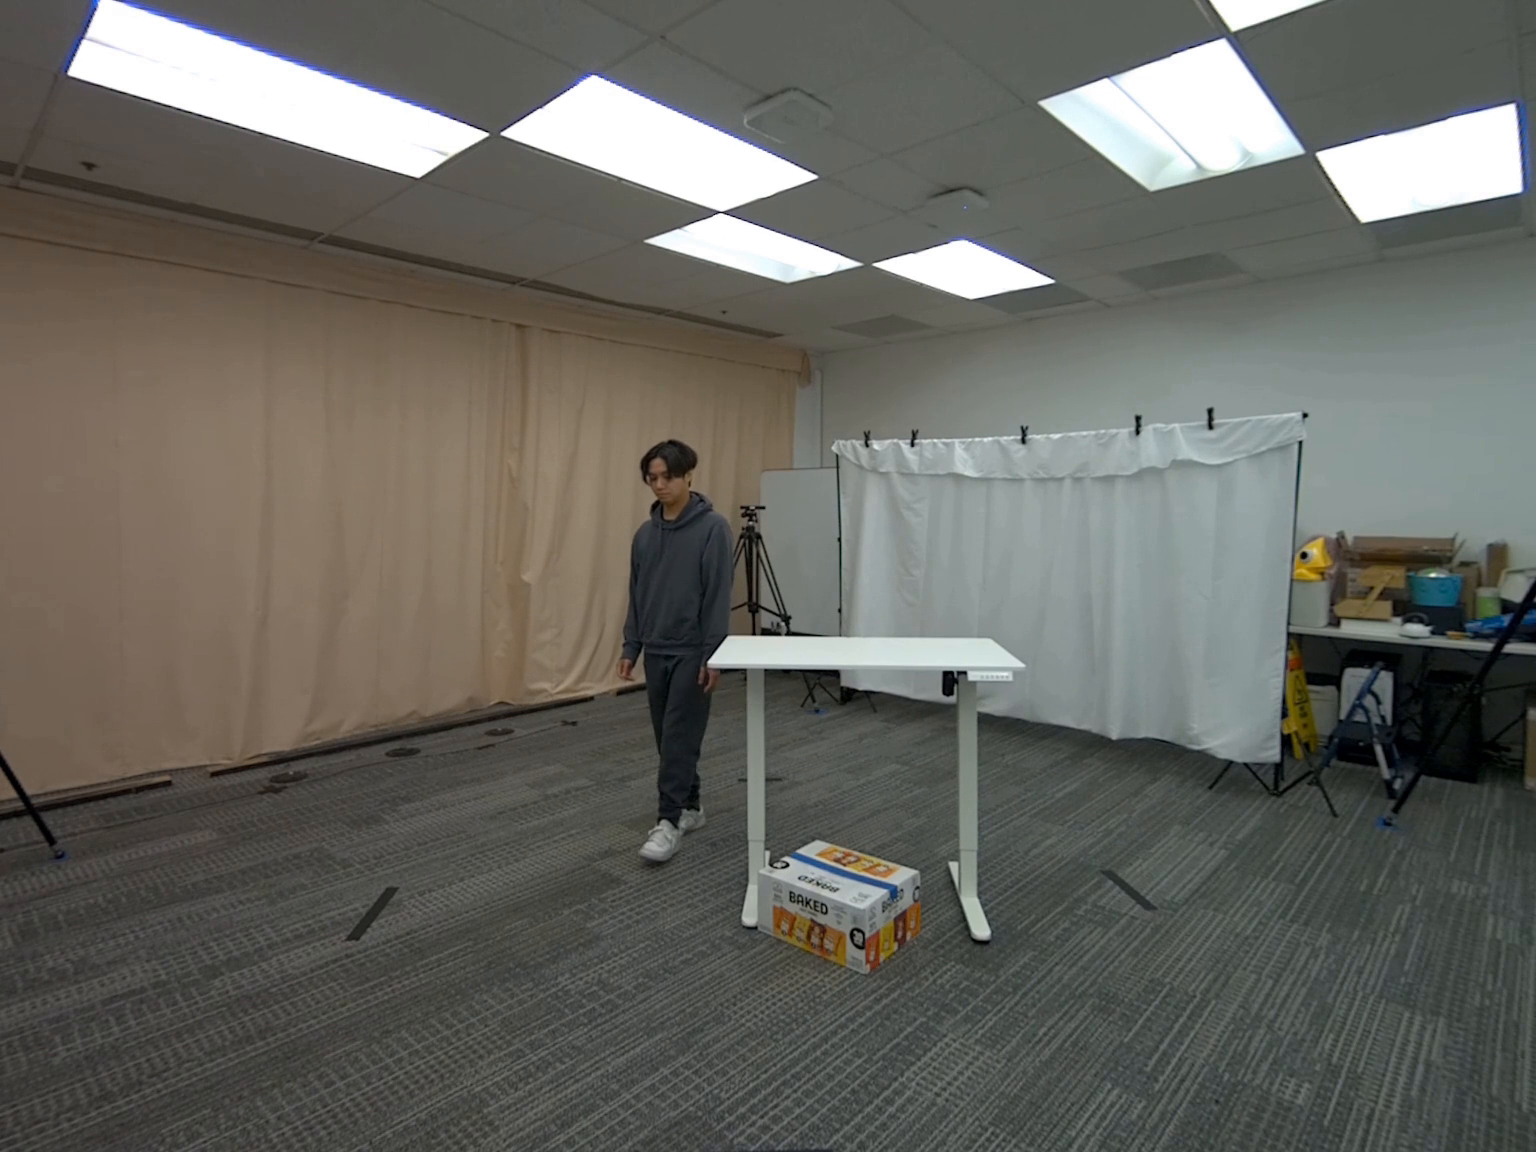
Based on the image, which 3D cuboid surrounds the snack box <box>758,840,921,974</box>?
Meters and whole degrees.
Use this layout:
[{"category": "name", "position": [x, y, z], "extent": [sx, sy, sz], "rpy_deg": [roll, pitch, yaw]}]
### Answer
[{"category": "snack box", "position": [0.235, 1.064, 2.740], "extent": [0.418, 0.205, 0.330], "rpy_deg": [3, 6, 39]}]
